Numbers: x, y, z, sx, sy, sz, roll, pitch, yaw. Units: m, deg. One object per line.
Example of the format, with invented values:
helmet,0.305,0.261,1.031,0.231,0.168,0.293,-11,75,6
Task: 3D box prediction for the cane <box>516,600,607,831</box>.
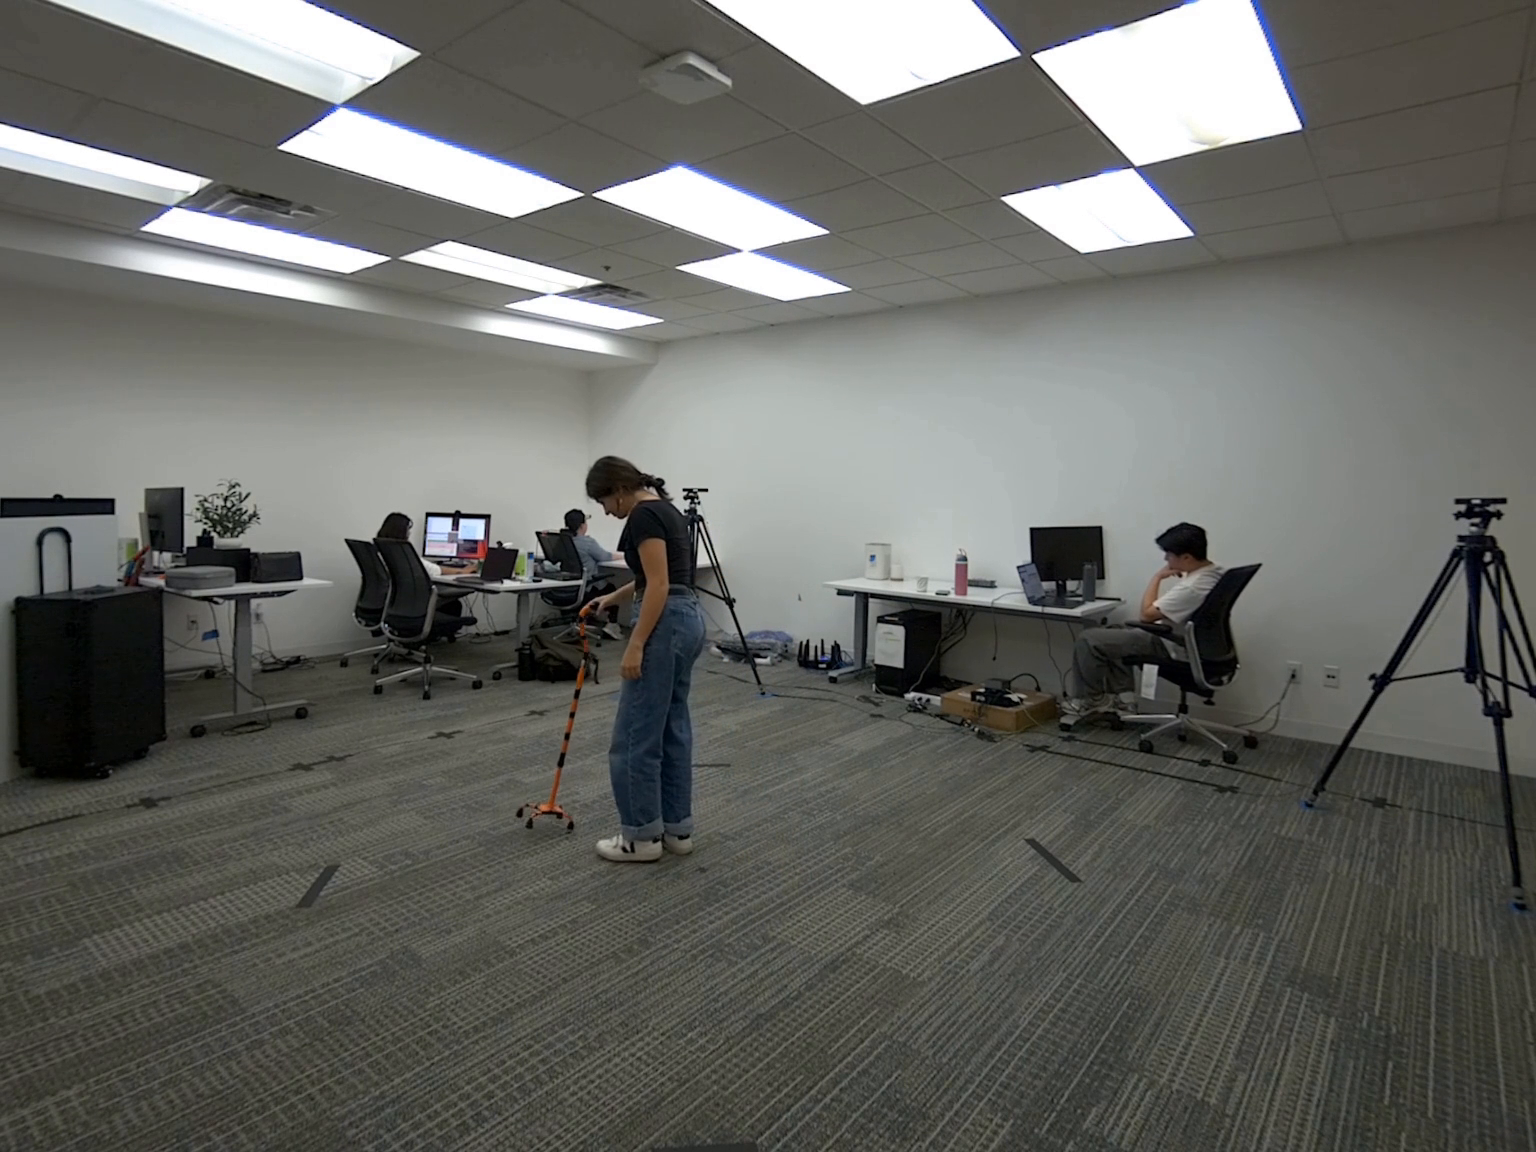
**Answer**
cane,-0.805,0.557,3.460,0.199,0.909,0.156,13,-3,-33
